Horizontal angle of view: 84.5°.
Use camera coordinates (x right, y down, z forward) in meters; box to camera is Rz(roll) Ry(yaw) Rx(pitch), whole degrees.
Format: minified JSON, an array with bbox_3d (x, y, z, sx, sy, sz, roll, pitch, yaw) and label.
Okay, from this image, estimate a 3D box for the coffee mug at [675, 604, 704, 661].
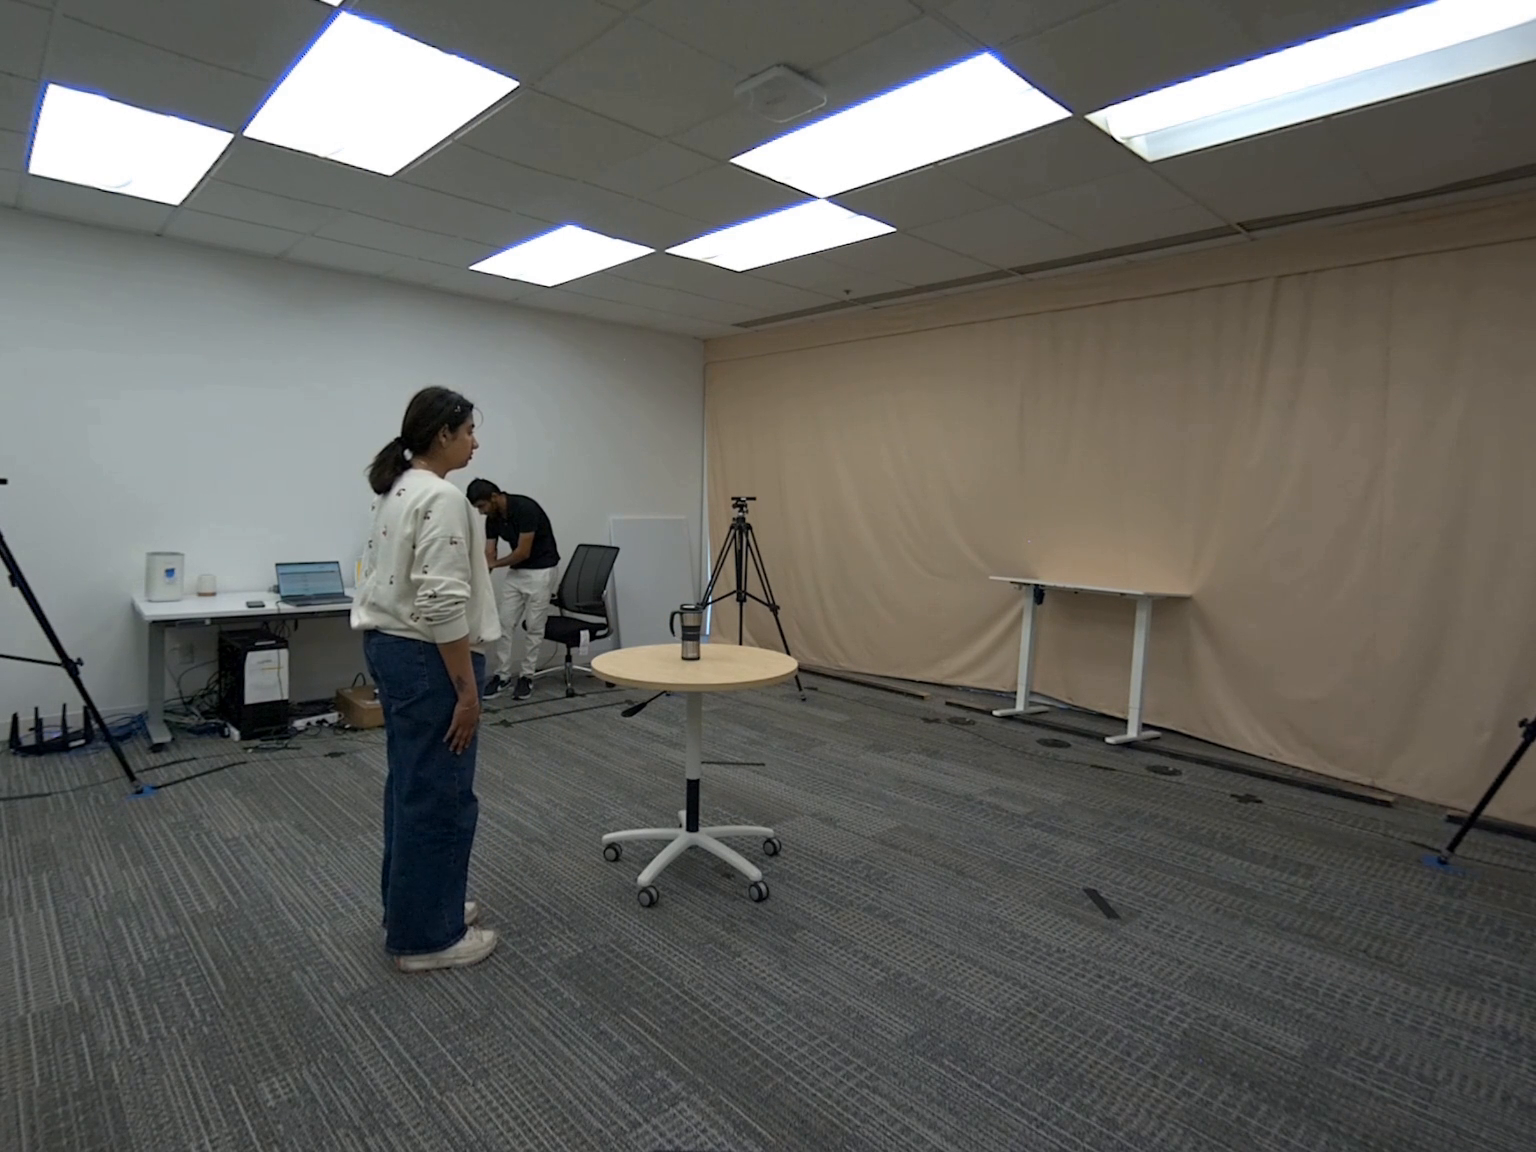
[{"bbox_3d":[-0.316,0.214,3.176,0.124,0.202,0.087,6,6,19],"label":"coffee mug"}]
